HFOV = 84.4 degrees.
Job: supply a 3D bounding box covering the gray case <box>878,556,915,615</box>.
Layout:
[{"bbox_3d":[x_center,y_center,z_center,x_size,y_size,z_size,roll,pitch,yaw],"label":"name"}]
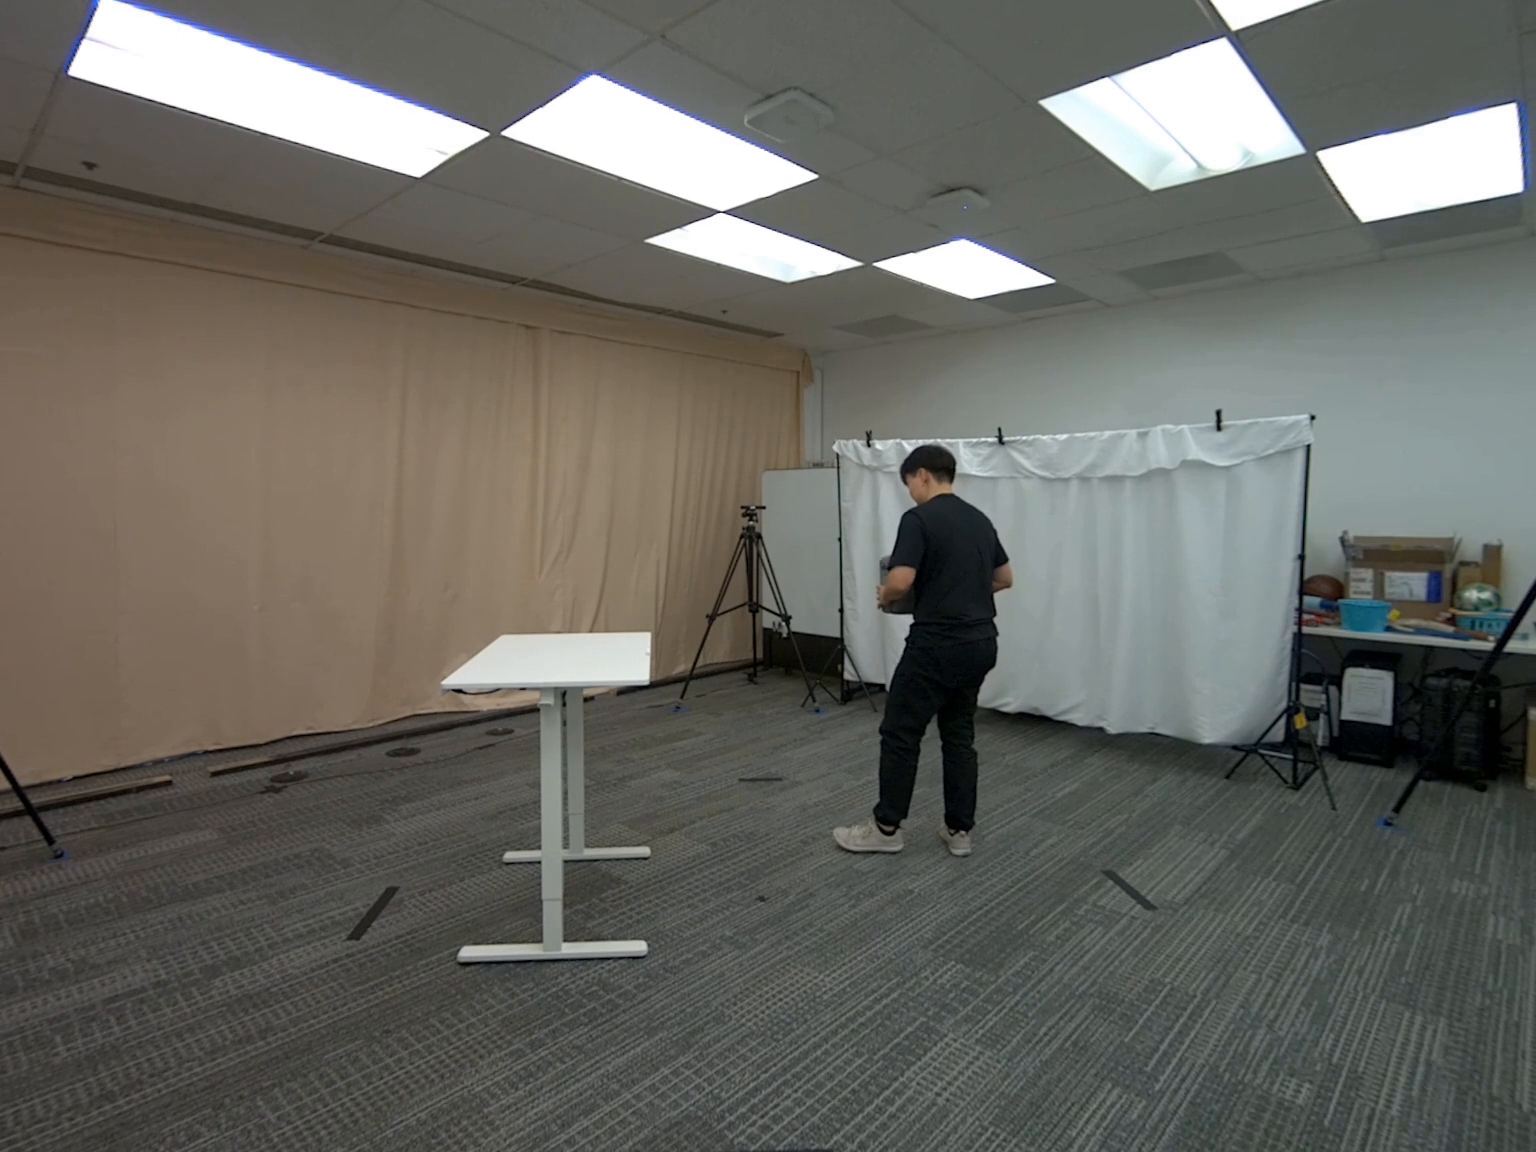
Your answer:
[{"bbox_3d":[0.625,0.035,3.647,0.249,0.262,0.107,3,-7,-33],"label":"gray case"}]
